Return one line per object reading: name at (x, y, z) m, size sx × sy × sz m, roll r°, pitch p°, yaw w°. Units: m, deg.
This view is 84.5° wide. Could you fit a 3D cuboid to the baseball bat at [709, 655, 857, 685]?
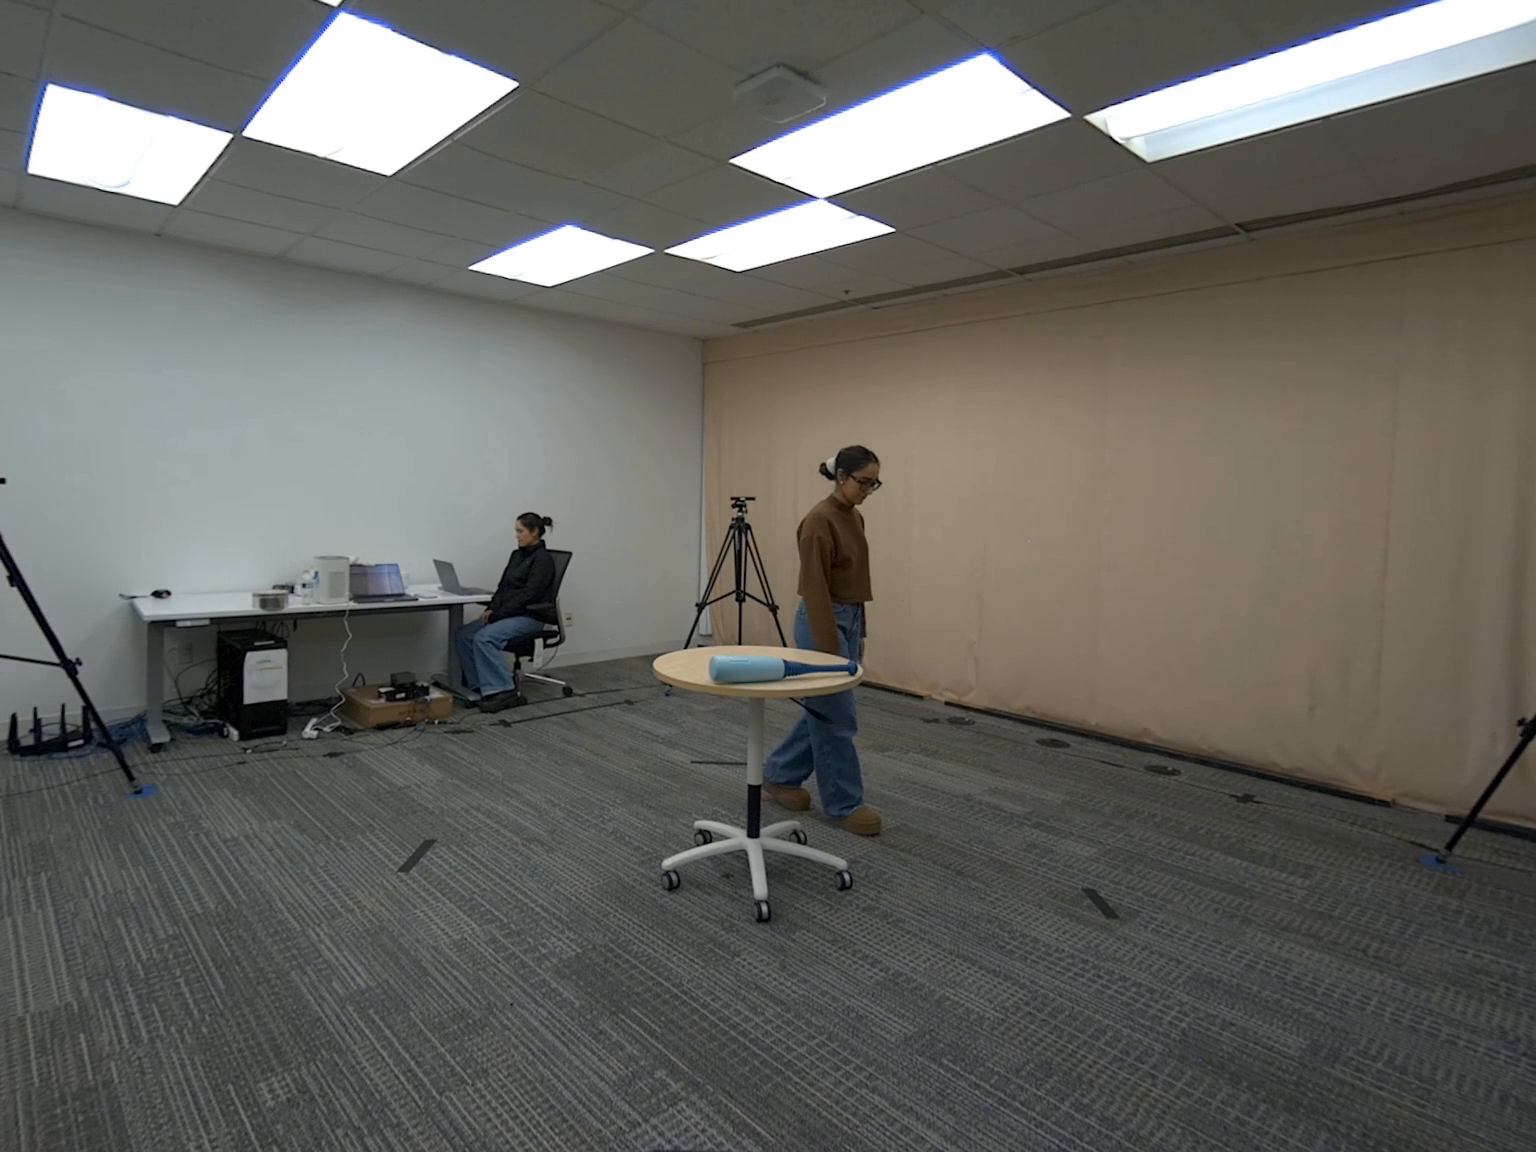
baseball bat at (0.062, 0.321, 2.851) m, size 0.534 × 0.089 × 0.090 m, roll 3°, pitch 3°, yaw -20°
